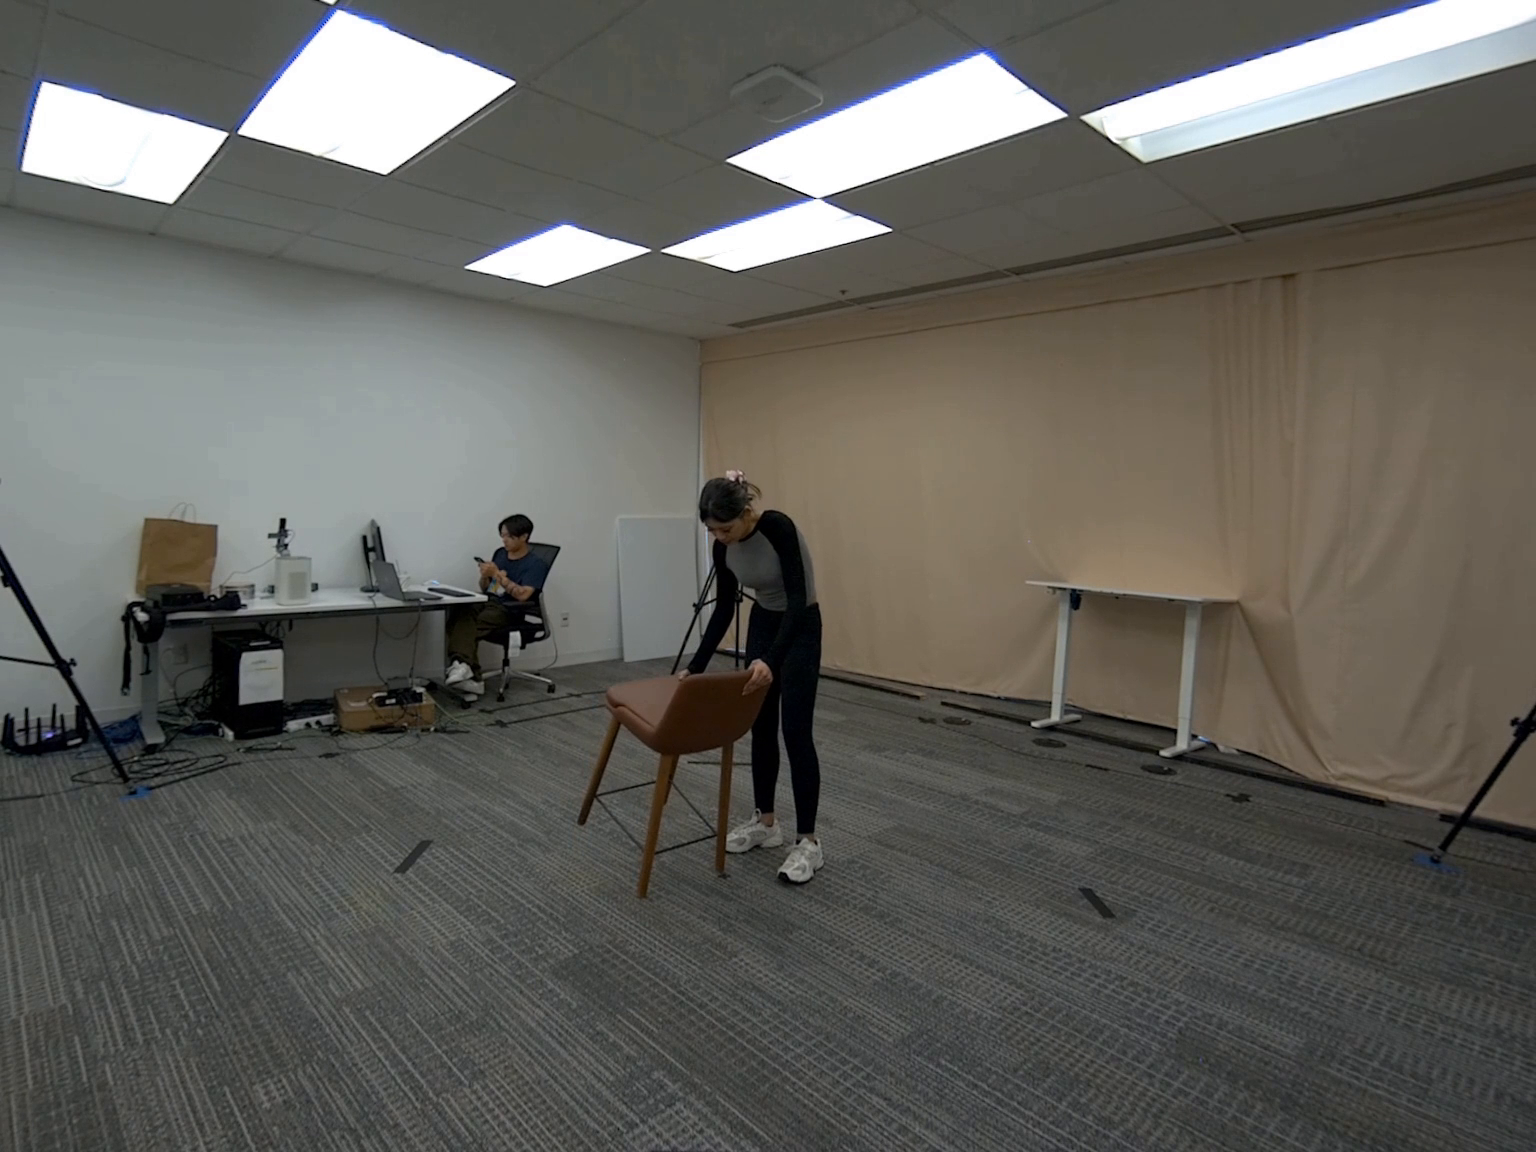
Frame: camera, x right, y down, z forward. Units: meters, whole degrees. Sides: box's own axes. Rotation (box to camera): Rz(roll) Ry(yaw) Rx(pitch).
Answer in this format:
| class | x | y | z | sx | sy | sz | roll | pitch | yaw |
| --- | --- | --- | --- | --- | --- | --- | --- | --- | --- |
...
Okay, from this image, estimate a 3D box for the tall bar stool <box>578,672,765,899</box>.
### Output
| class | x | y | z | sx | sy | sz | roll | pitch | yaw |
| --- | --- | --- | --- | --- | --- | --- | --- | --- | --- |
| tall bar stool | -0.349 | 0.629 | 3.053 | 0.446 | 0.882 | 0.483 | -1 | 24 | -40 |
